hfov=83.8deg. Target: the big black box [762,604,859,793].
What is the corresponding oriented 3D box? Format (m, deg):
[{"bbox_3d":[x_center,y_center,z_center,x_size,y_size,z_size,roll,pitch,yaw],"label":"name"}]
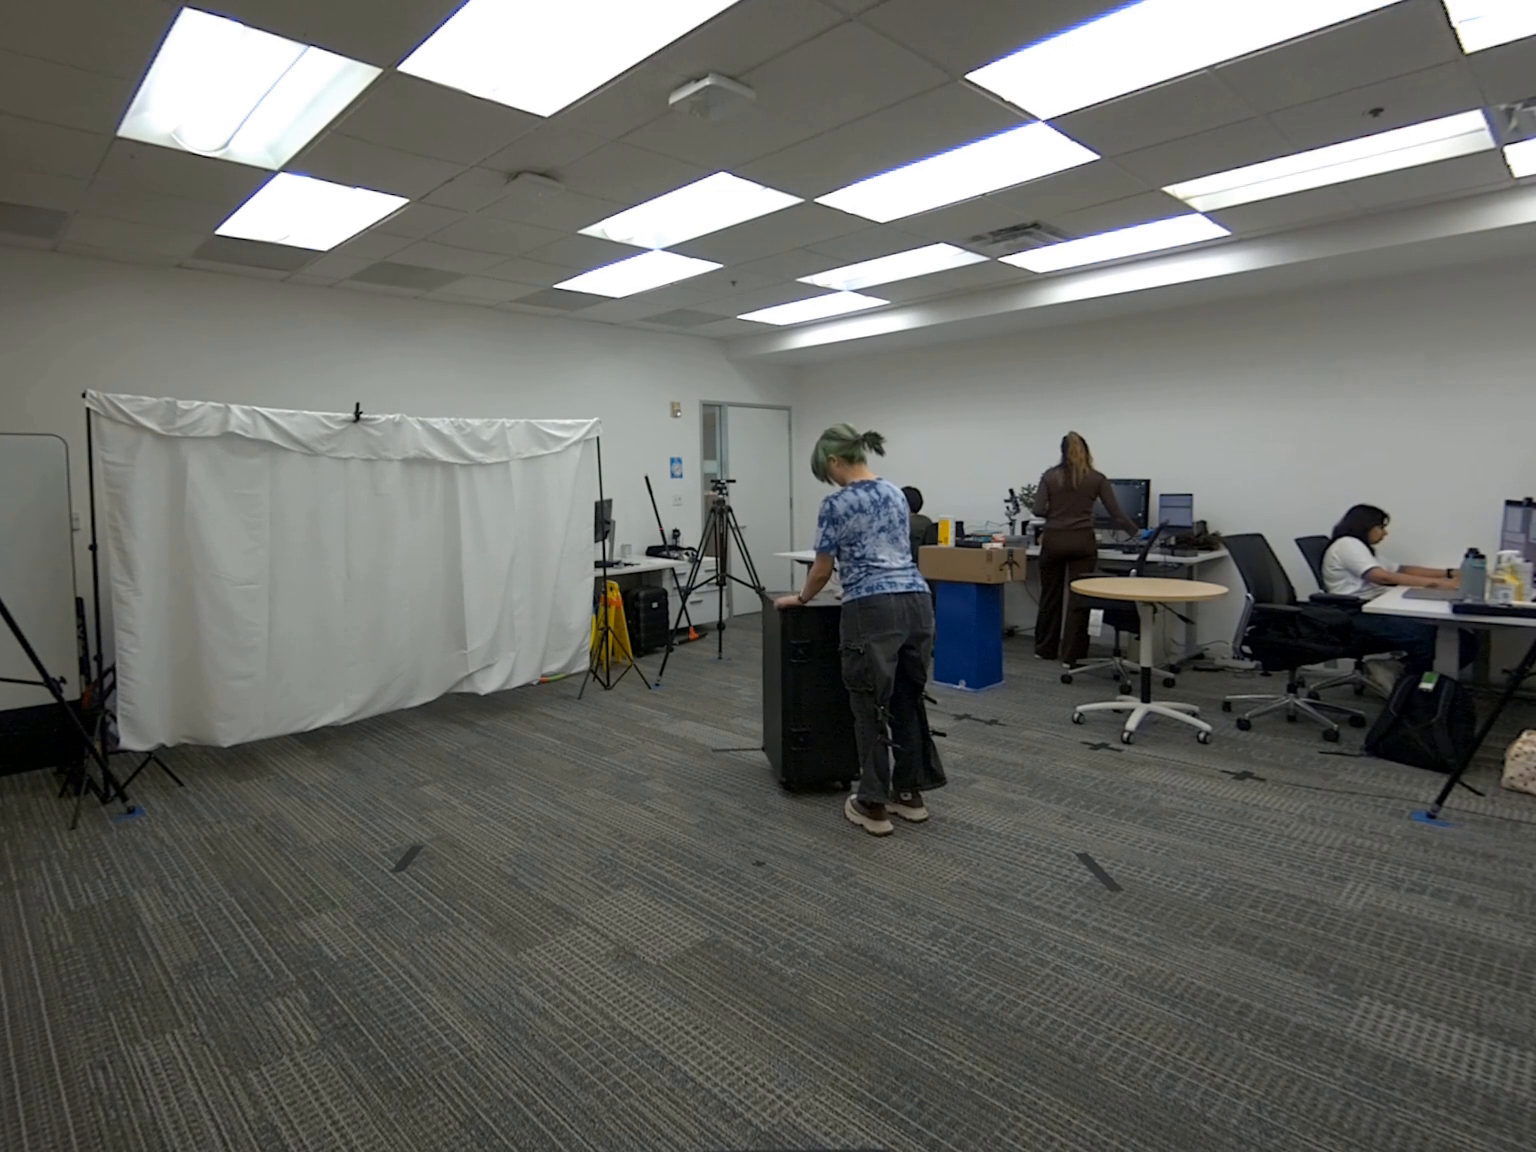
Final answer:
[{"bbox_3d":[0.192,0.524,3.952,0.393,0.858,0.527,-1,5,-9],"label":"big black box"}]
